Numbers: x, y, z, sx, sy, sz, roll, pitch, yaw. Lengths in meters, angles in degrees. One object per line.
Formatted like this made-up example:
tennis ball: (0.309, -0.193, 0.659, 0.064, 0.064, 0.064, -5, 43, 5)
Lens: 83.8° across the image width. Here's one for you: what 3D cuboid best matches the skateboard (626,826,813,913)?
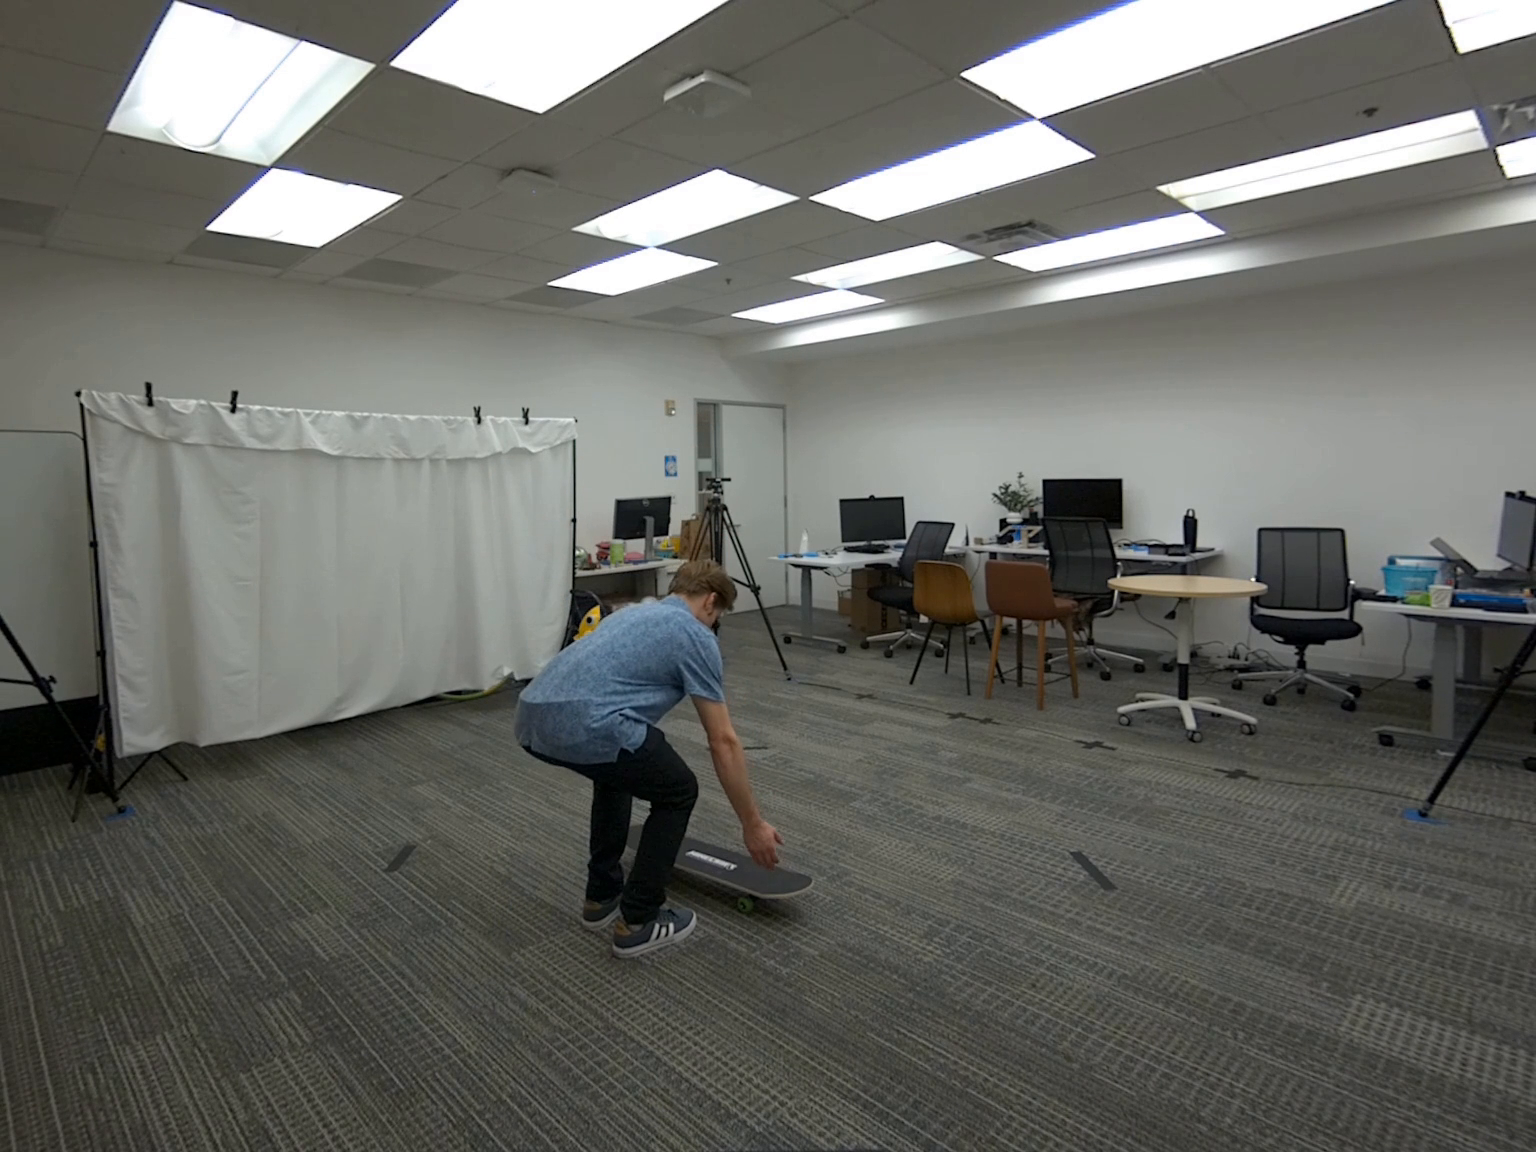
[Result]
skateboard: (-0.196, 1.005, 2.930, 0.809, 0.110, 0.189, 3, 8, 37)
